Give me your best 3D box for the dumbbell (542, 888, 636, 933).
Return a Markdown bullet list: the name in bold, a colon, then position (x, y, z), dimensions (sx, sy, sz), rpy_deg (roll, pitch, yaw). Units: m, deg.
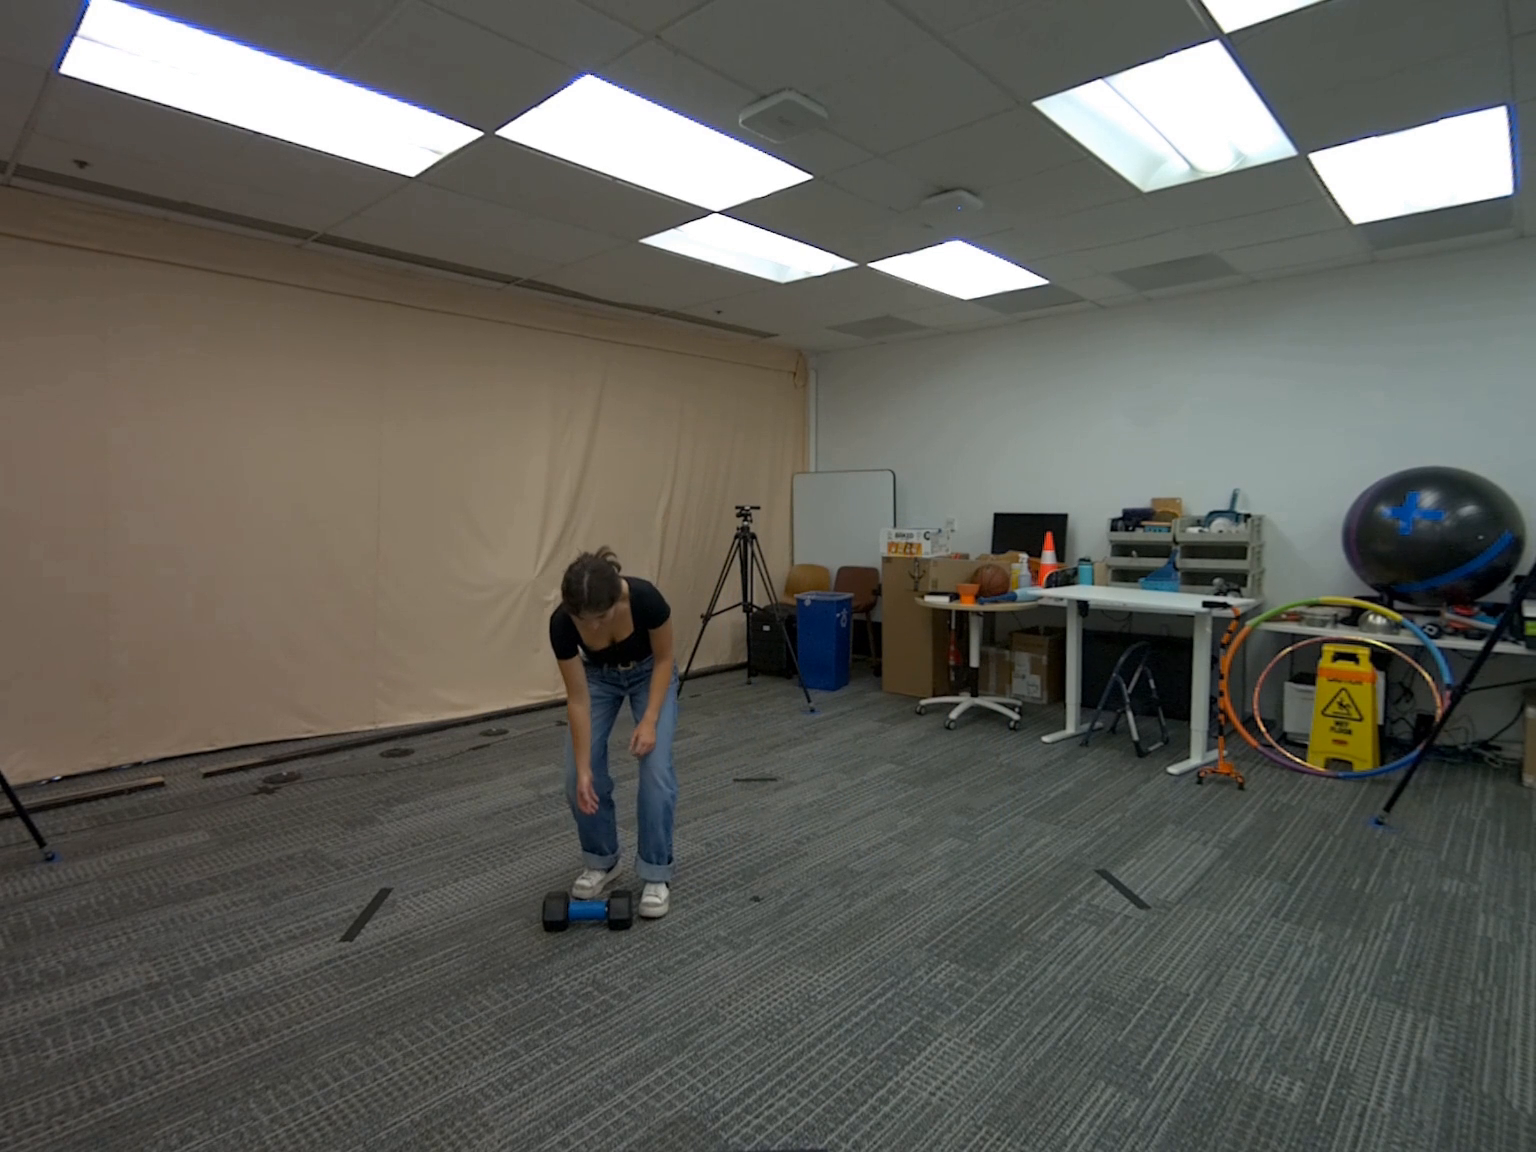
- **dumbbell**: position (-0.593, 1.109, 2.789), dimensions (0.292, 0.125, 0.107), rpy_deg (0, -25, -4)
